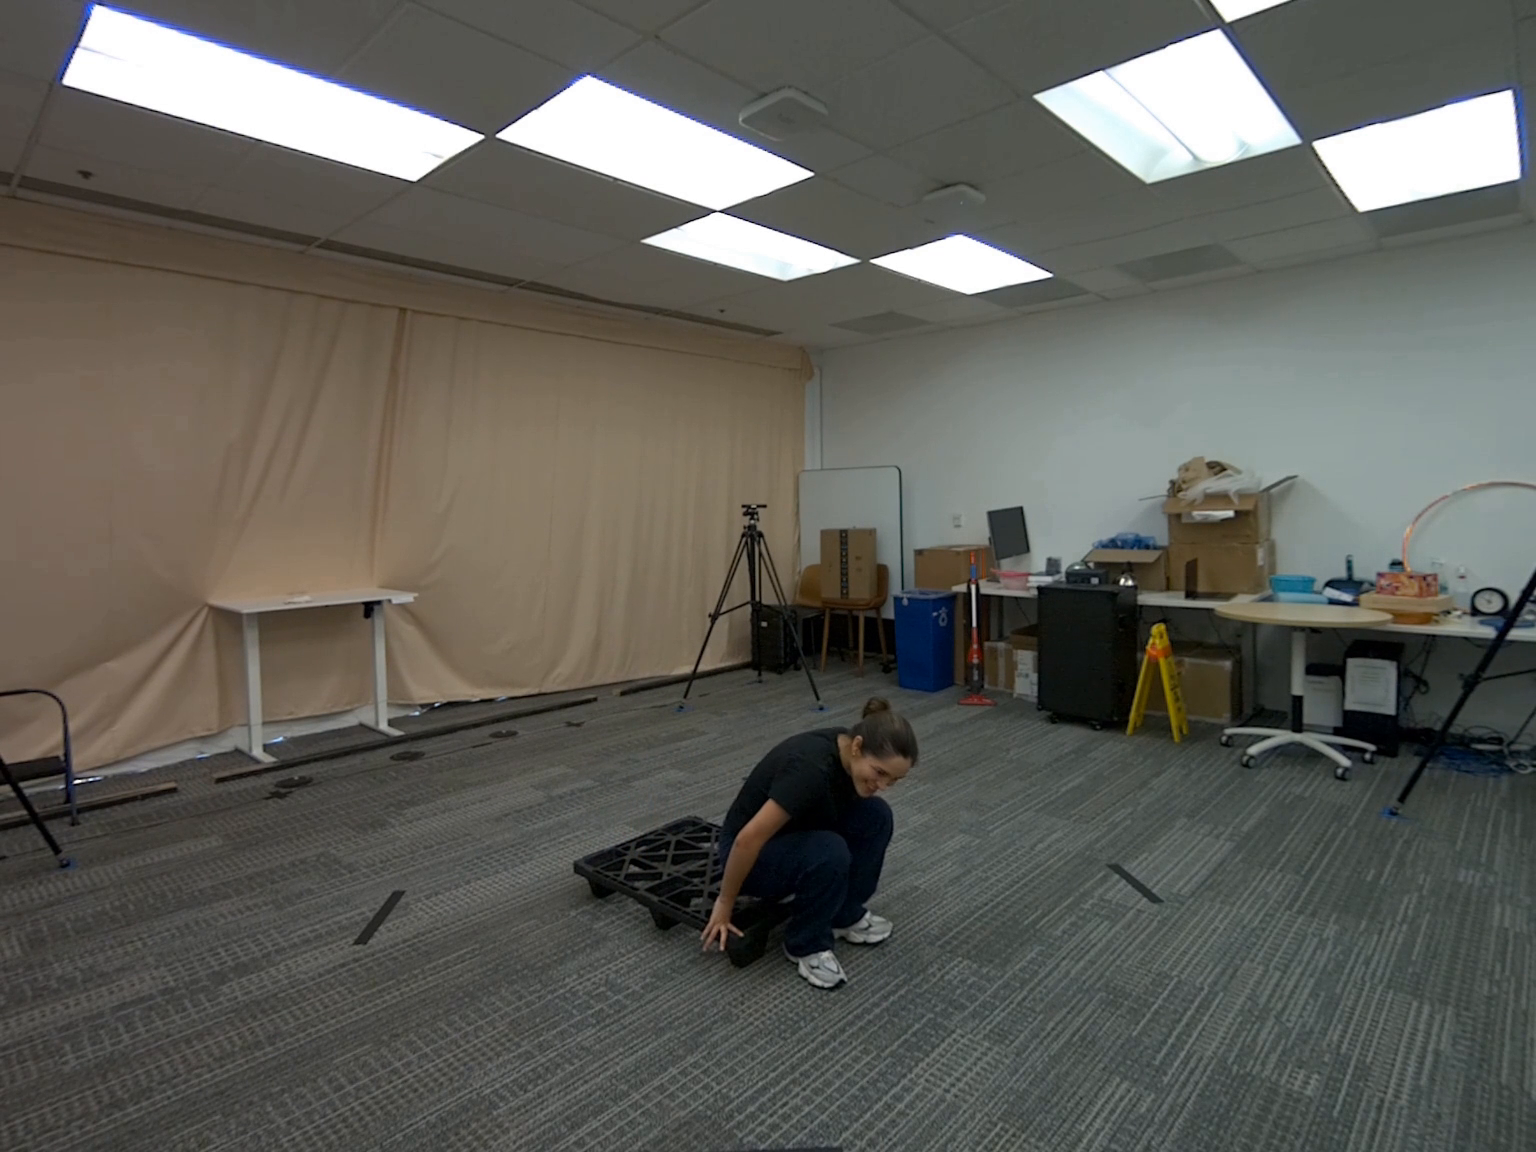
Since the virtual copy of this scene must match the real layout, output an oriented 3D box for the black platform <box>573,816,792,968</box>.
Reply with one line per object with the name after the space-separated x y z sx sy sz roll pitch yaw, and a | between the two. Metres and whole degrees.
-0.194 1.085 2.944 0.832 0.143 0.587 3 7 42 | black platform
